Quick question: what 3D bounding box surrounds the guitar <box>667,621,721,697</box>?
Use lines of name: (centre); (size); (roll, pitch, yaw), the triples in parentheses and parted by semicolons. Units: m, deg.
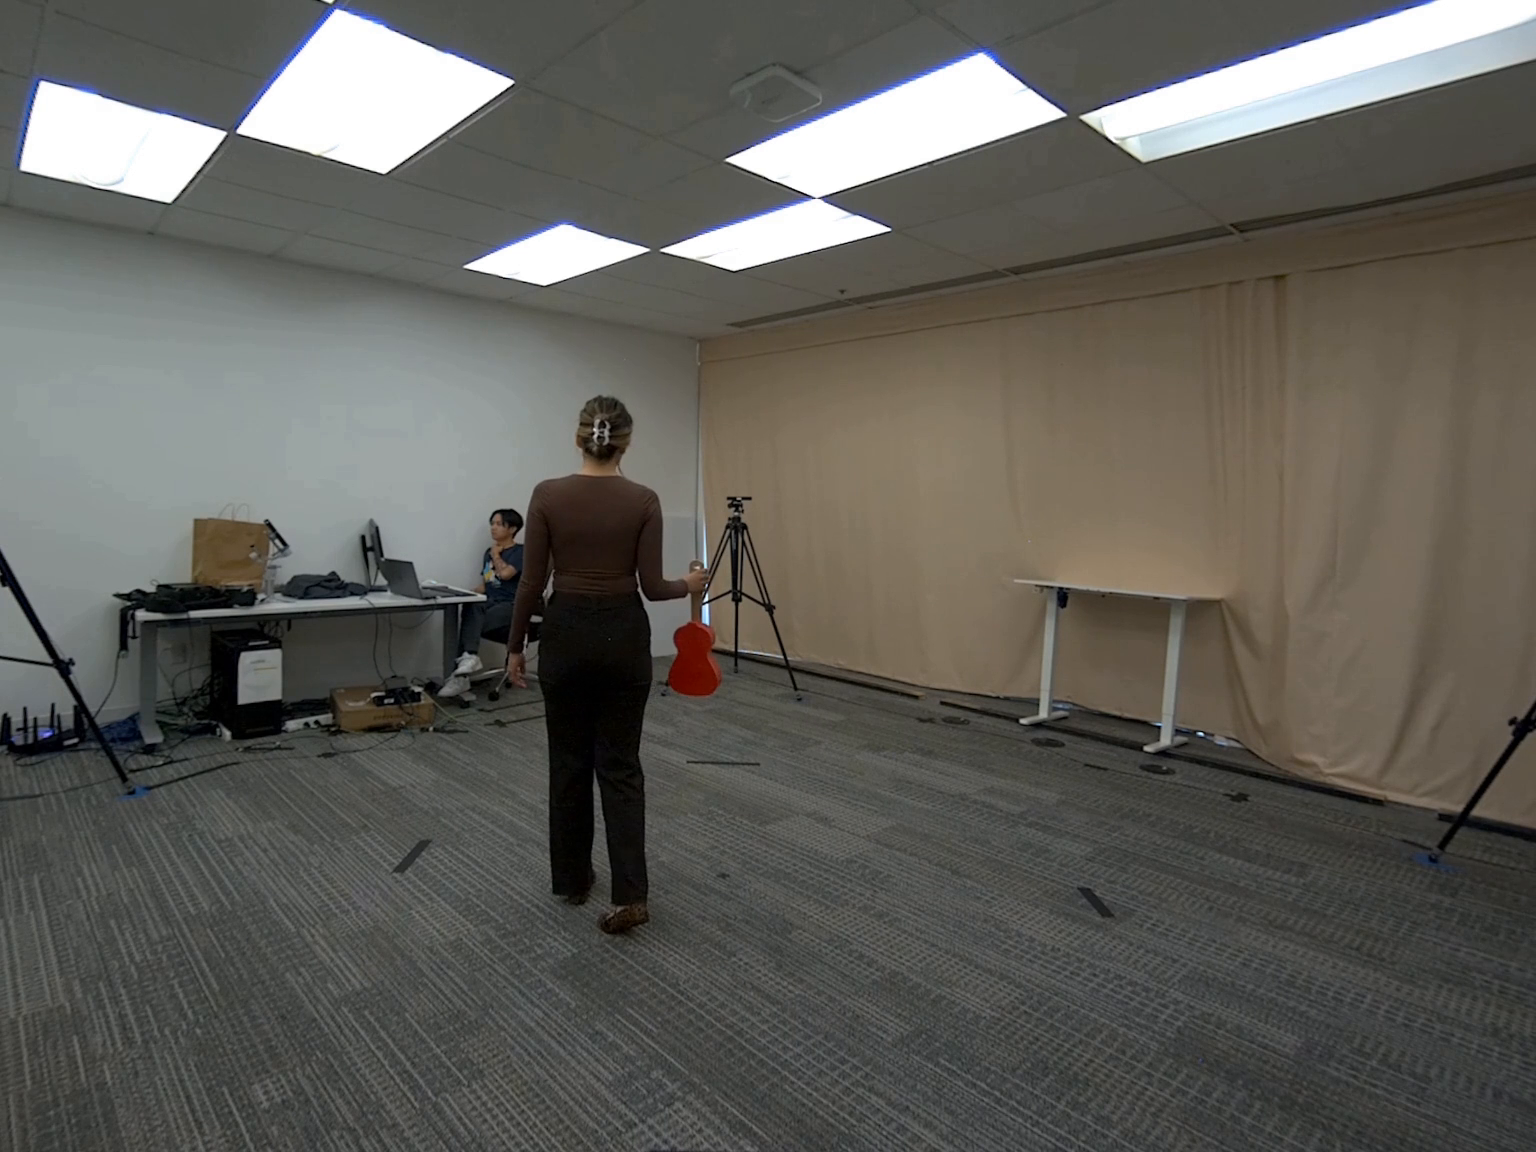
guitar: (-0.298, 0.198, 3.124); (0.195, 0.496, 0.070); (-6, 5, 18)
